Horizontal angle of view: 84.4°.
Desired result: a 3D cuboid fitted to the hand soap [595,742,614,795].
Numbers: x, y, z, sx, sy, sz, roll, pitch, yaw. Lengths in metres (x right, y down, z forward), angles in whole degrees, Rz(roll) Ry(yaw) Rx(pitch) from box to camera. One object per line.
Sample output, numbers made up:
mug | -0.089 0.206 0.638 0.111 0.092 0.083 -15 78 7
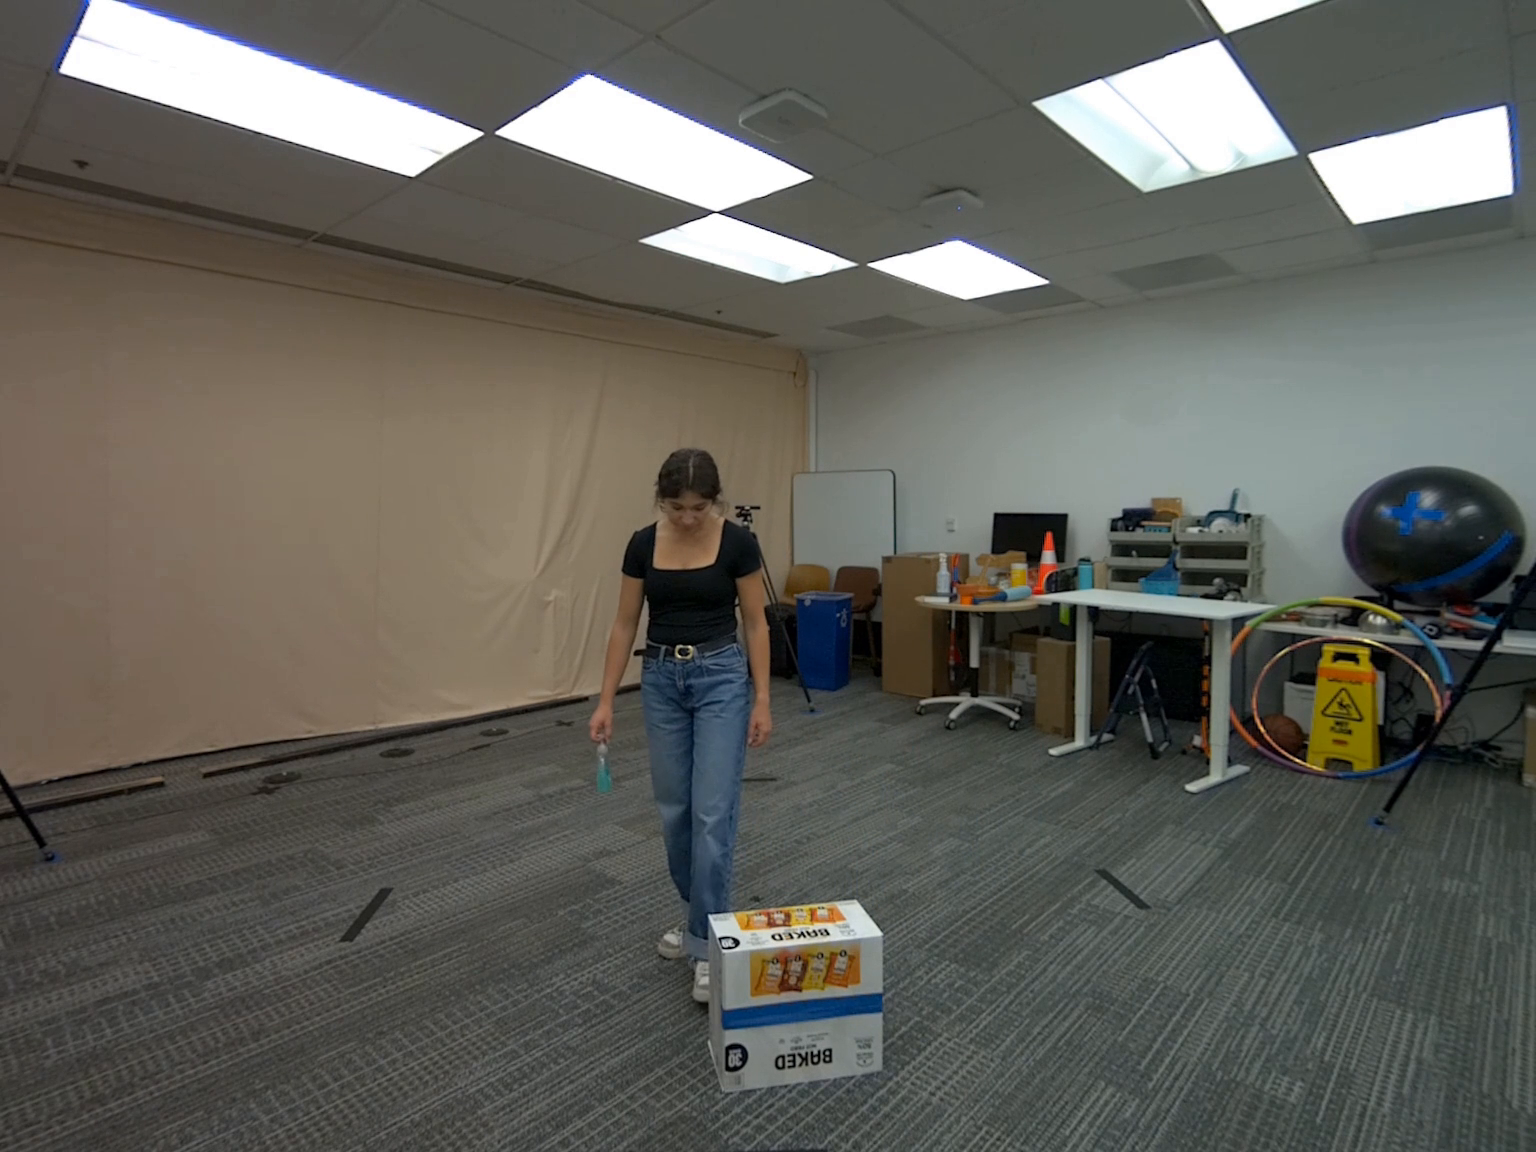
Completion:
hand soap | -0.486 0.556 2.512 0.043 0.169 0.084 -1 -5 -2
